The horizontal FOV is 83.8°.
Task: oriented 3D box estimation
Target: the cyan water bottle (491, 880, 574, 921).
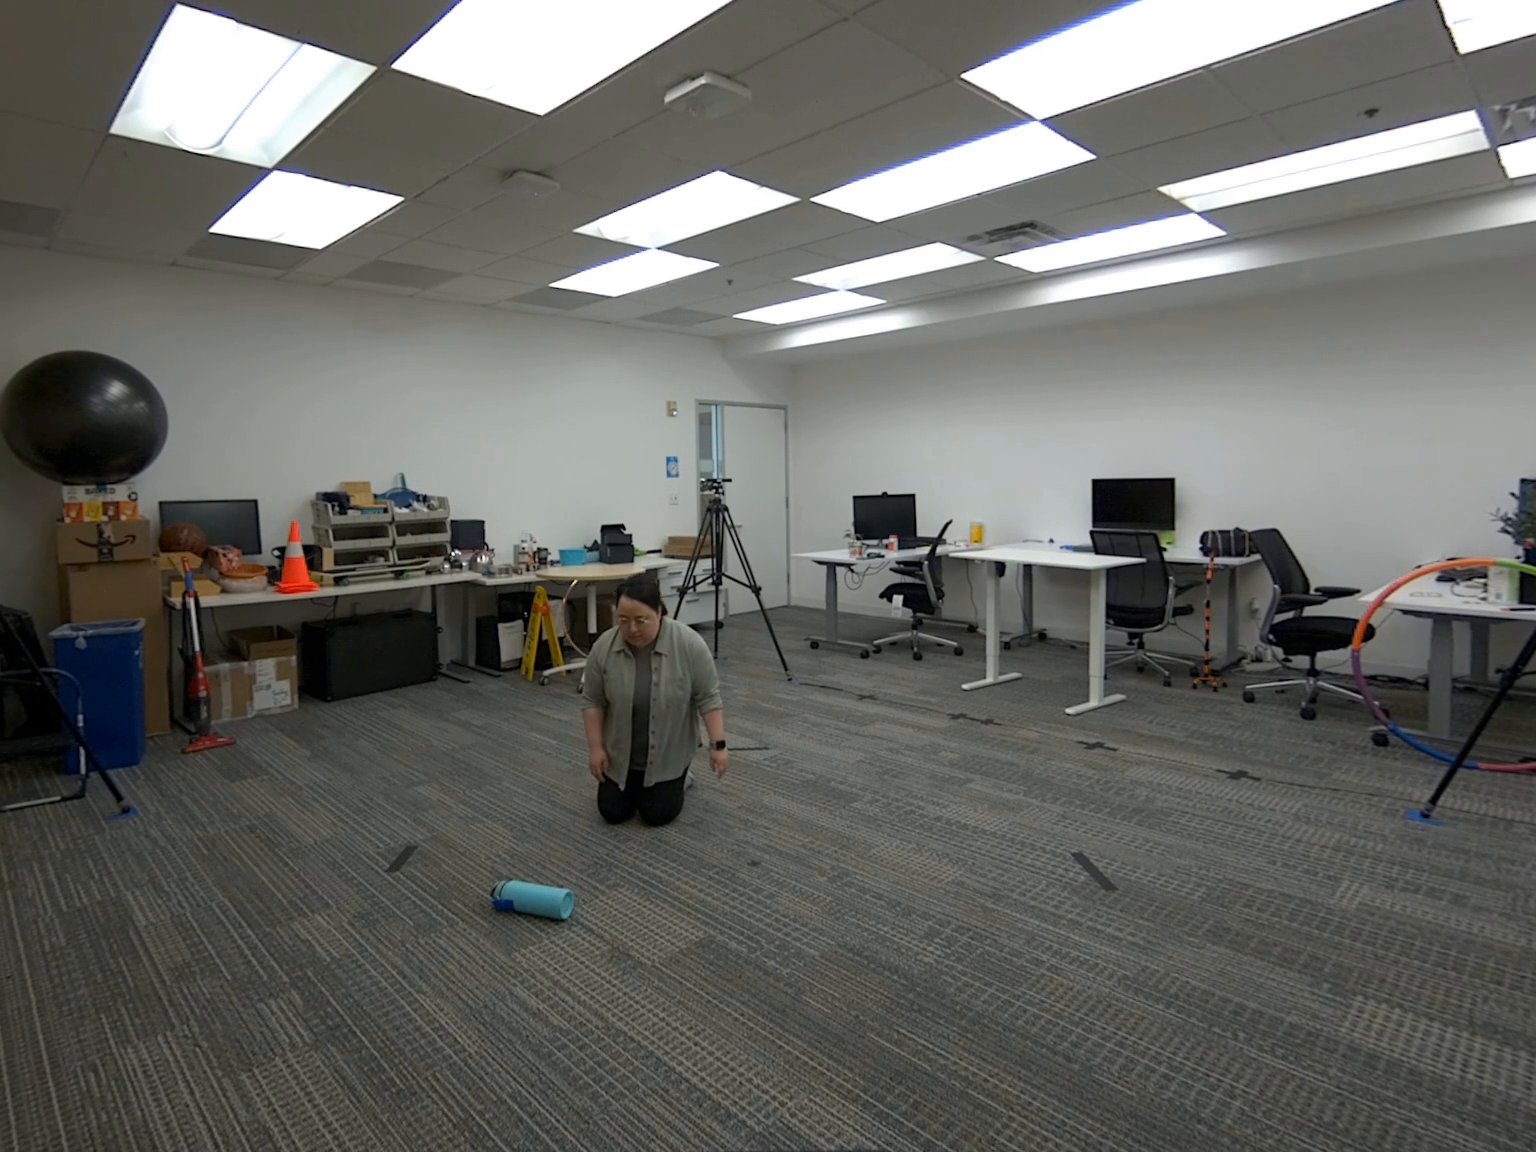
[{"bbox_3d":[-0.776,1.052,2.786,0.289,0.092,0.091,1,5,19],"label":"cyan water bottle"}]
